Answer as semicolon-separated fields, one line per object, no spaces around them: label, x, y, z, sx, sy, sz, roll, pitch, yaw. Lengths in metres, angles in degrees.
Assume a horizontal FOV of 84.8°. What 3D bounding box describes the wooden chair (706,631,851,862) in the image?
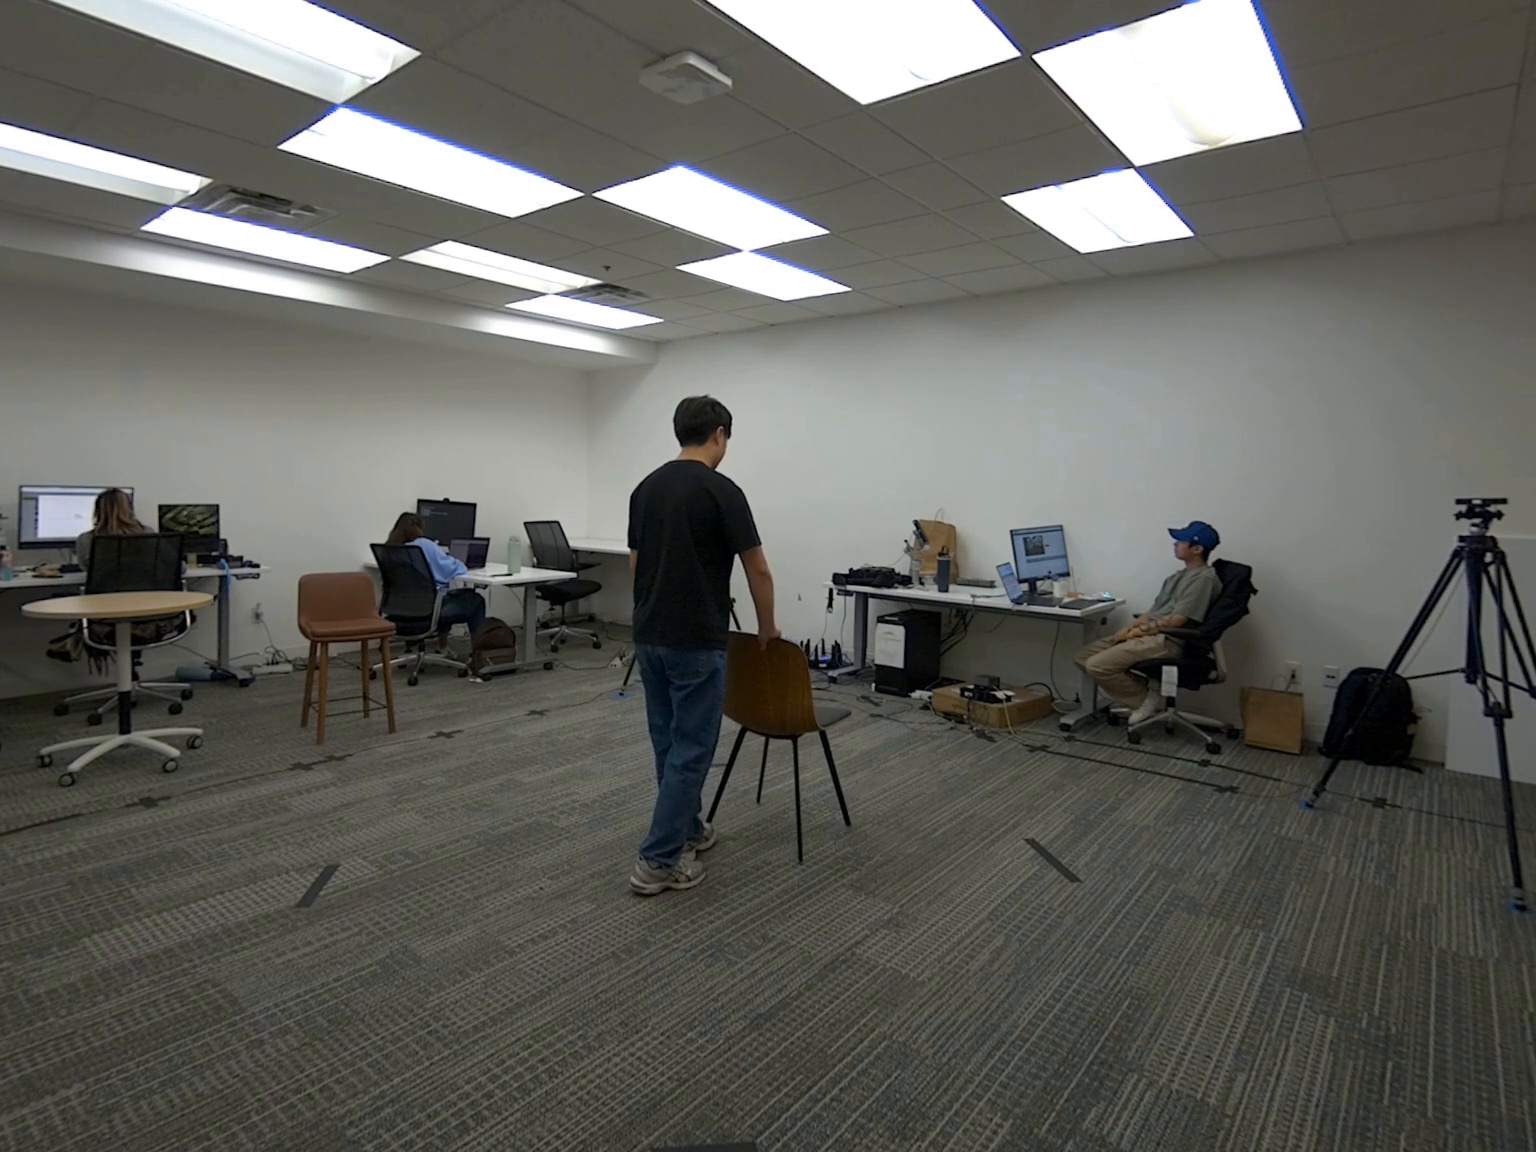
wooden chair;0.046;0.609;3.469;0.492;0.872;0.511;3;7;31
